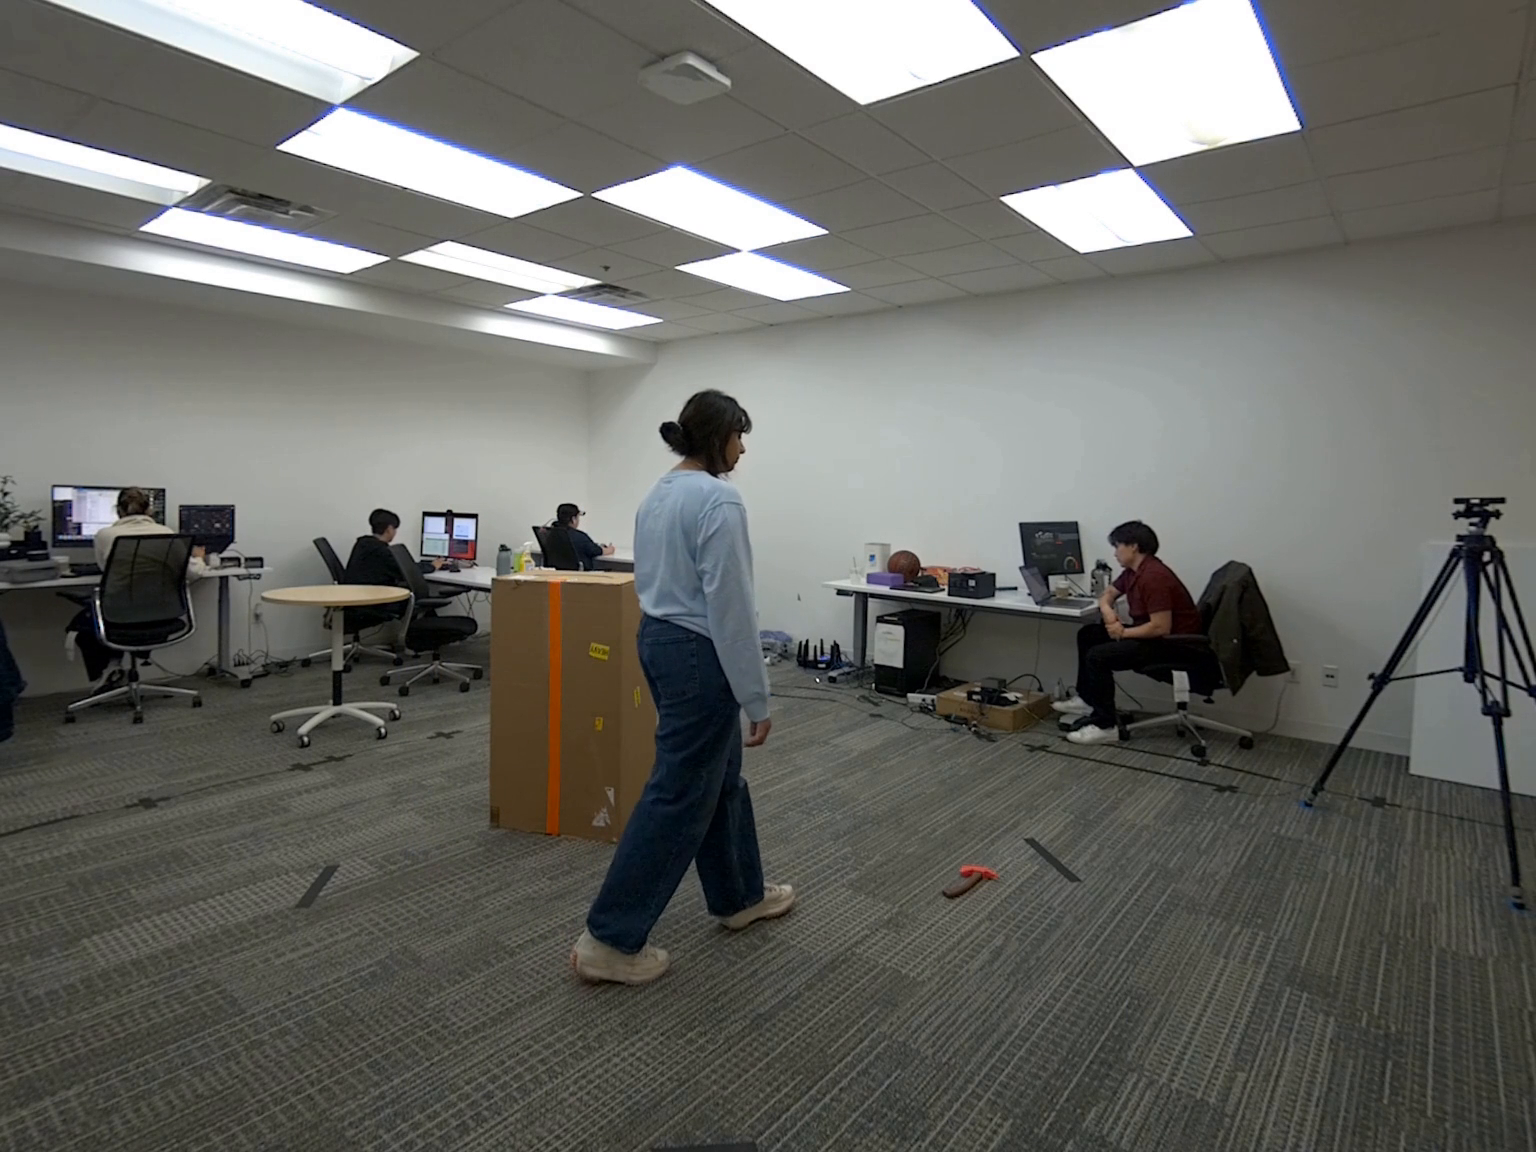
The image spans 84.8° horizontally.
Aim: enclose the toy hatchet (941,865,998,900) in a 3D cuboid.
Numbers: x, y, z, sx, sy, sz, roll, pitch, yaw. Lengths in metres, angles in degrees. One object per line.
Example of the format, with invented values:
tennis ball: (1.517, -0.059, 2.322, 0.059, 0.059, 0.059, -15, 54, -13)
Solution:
toy hatchet: (0.691, 1.090, 3.049, 0.263, 0.029, 0.135, -5, 10, -35)
